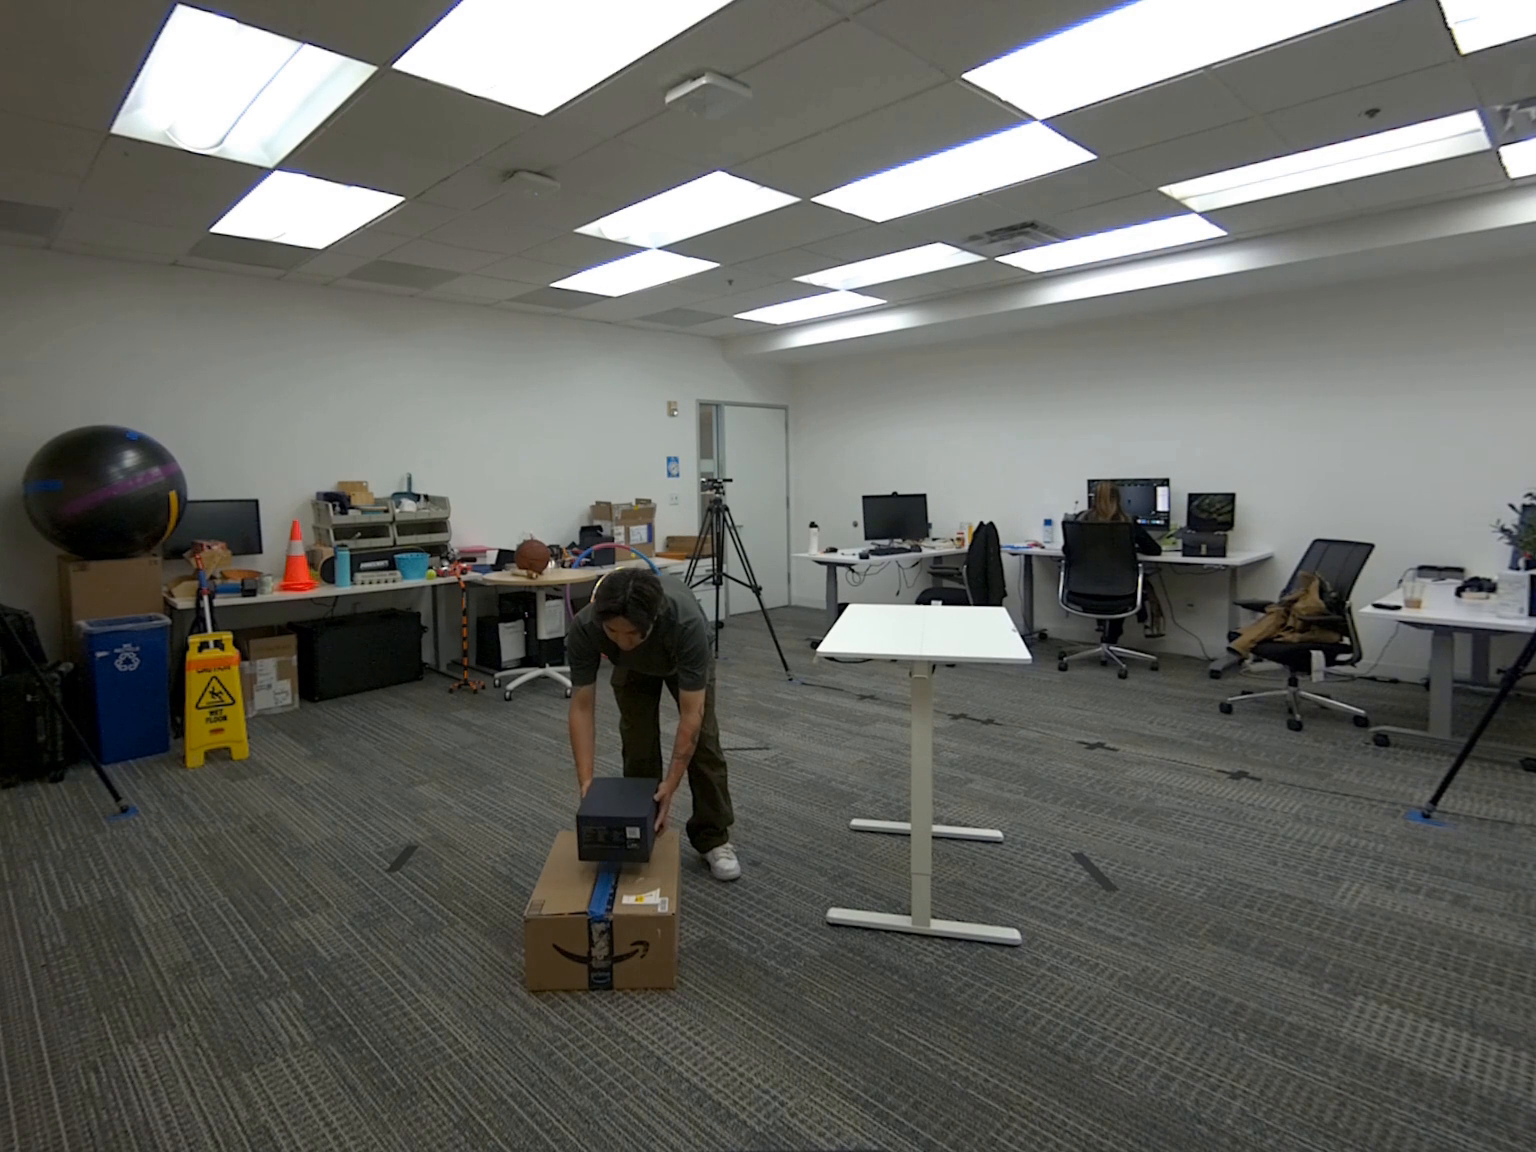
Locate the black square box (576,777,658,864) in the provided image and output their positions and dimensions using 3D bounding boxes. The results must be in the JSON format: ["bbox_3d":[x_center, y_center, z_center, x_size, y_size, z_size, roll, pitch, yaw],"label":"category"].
[{"bbox_3d":[-0.454,0.750,2.630,0.218,0.154,0.230,-1,14,3],"label":"black square box"}]
